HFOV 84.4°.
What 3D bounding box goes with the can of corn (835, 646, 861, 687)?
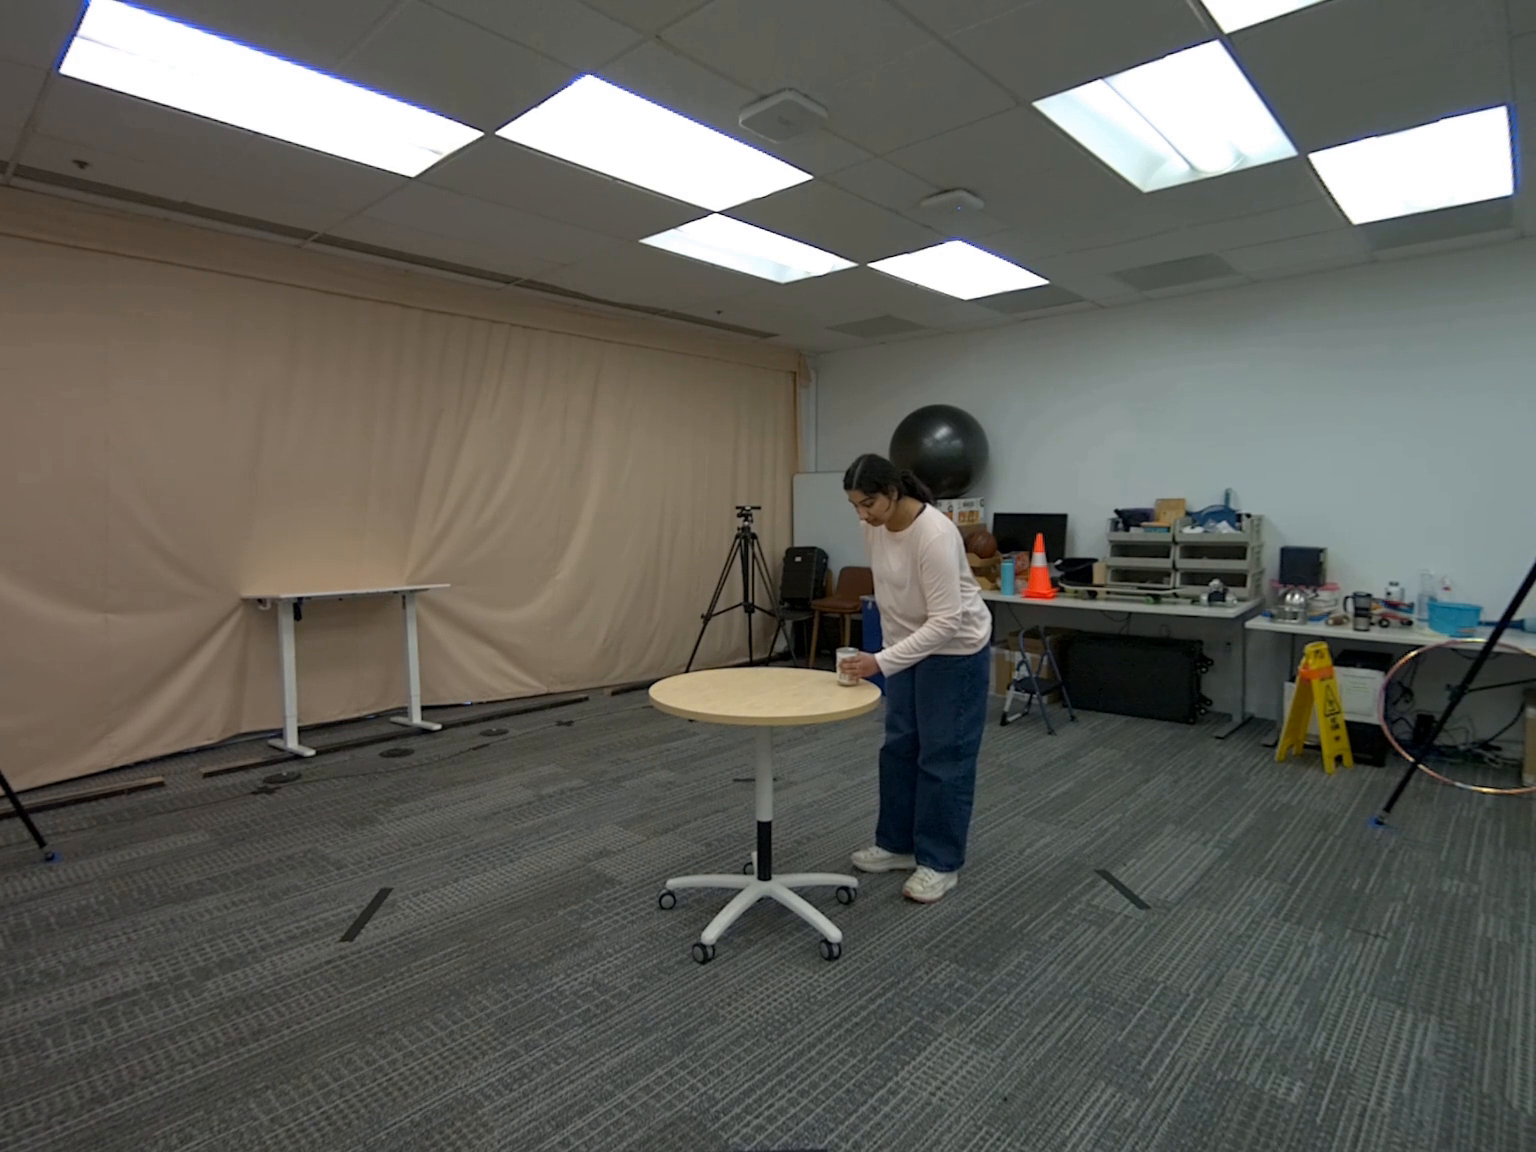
[{"bbox_3d":[0.275,0.305,2.850,0.074,0.111,0.074,-1,4,-2],"label":"can of corn"}]
